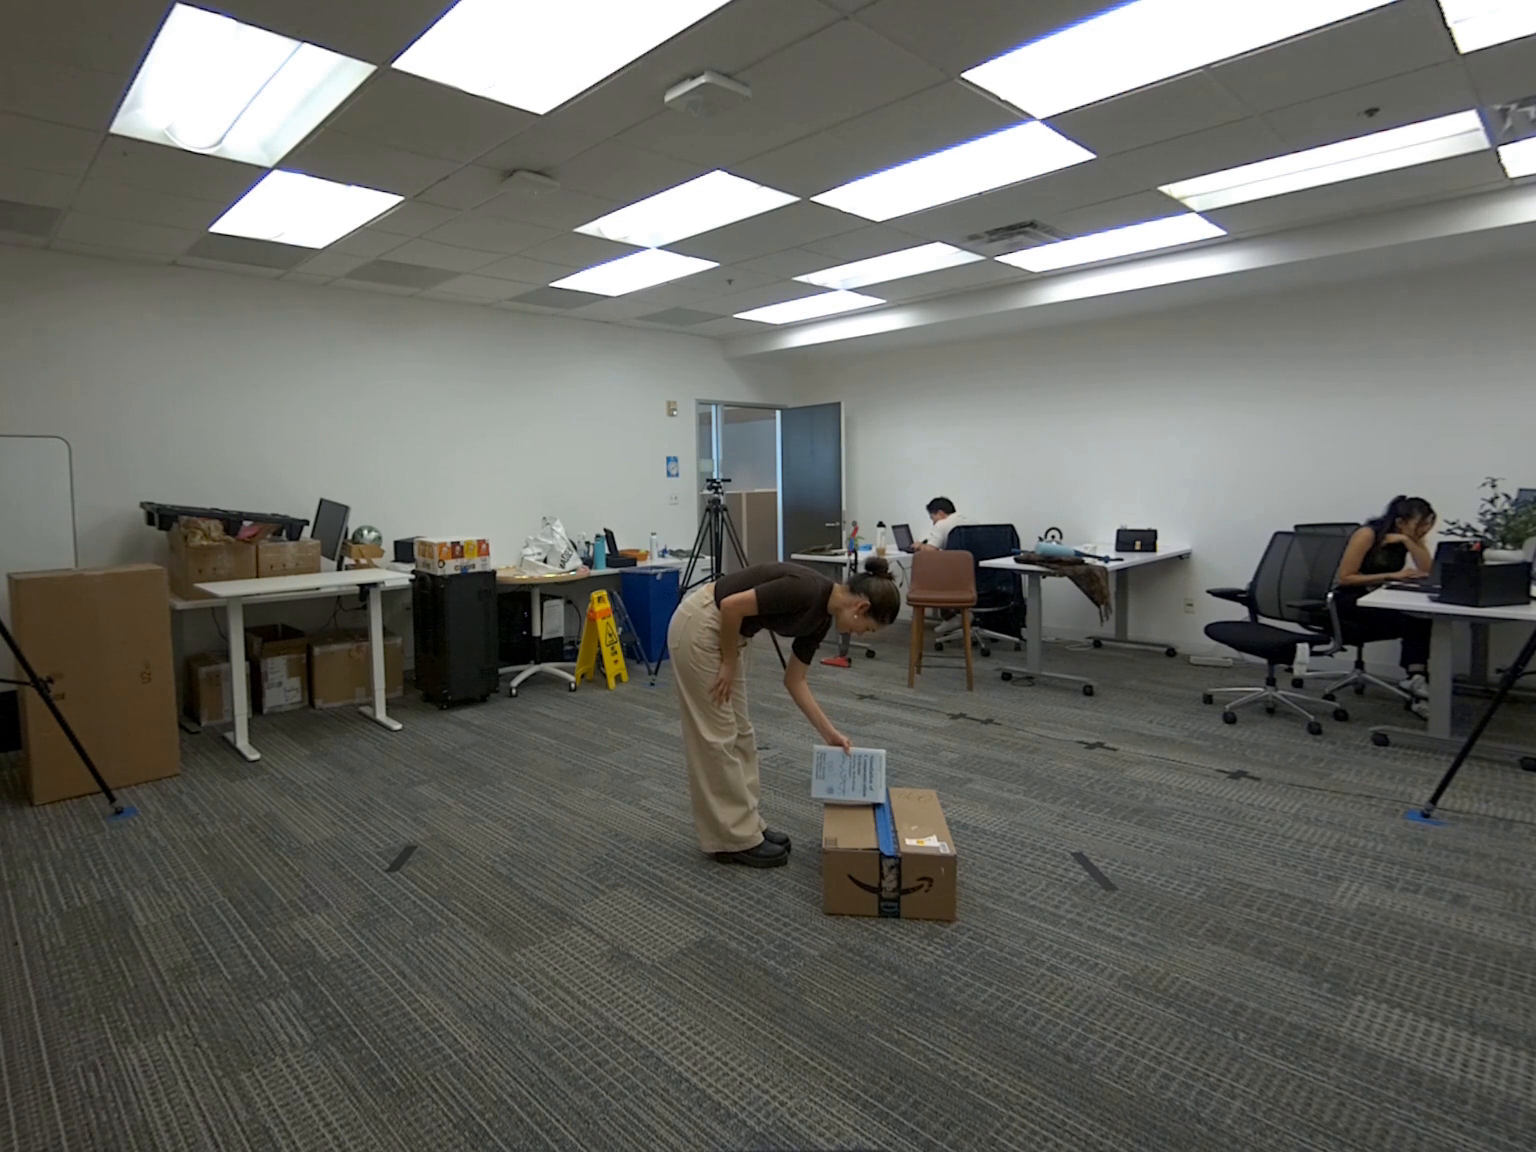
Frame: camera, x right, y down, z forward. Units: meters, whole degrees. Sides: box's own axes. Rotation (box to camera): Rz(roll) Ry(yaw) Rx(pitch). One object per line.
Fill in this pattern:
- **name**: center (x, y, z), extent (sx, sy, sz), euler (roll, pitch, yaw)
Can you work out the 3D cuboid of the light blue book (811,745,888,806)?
- **light blue book**: center (0.284, 0.722, 3.107), extent (0.264, 0.195, 0.057), euler (2, -25, 10)
